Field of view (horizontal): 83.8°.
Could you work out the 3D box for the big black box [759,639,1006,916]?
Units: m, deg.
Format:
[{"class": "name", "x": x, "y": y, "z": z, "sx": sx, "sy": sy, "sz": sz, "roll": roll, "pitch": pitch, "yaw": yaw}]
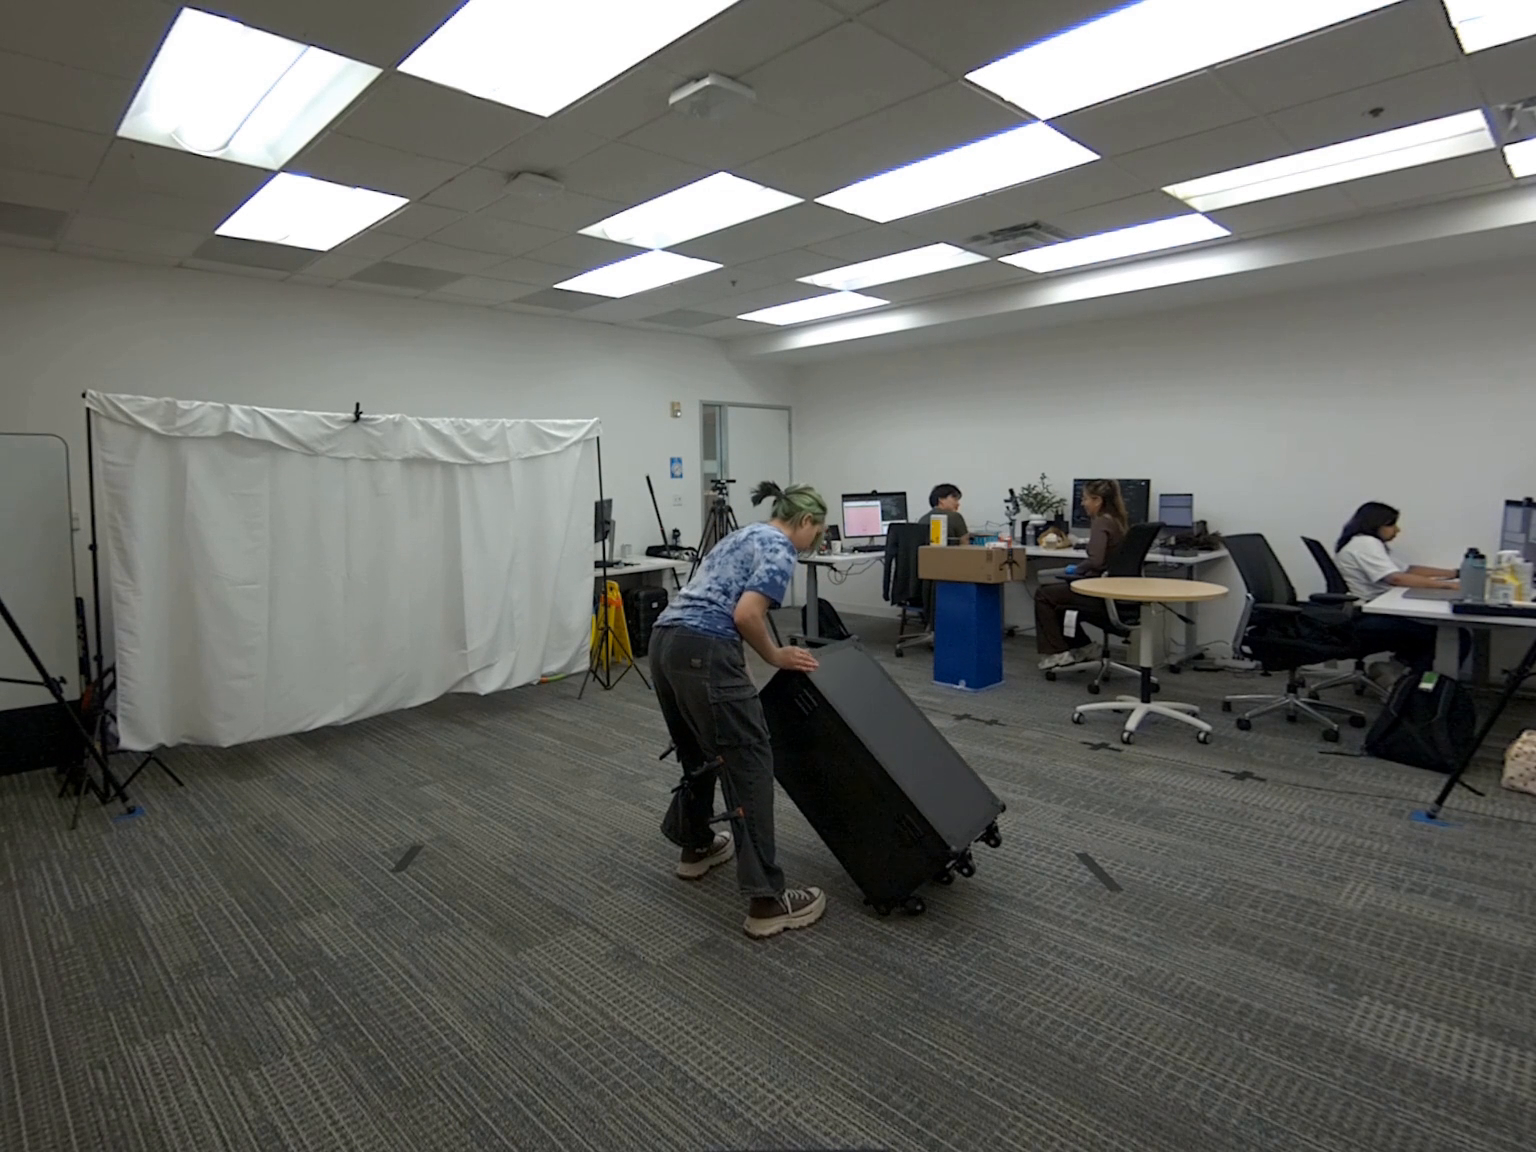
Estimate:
[{"class": "big black box", "x": 0.361, "y": 0.681, "z": 2.941, "sx": 0.886, "sy": 0.395, "sz": 0.508, "roll": 49, "pitch": 27, "yaw": 22}]
